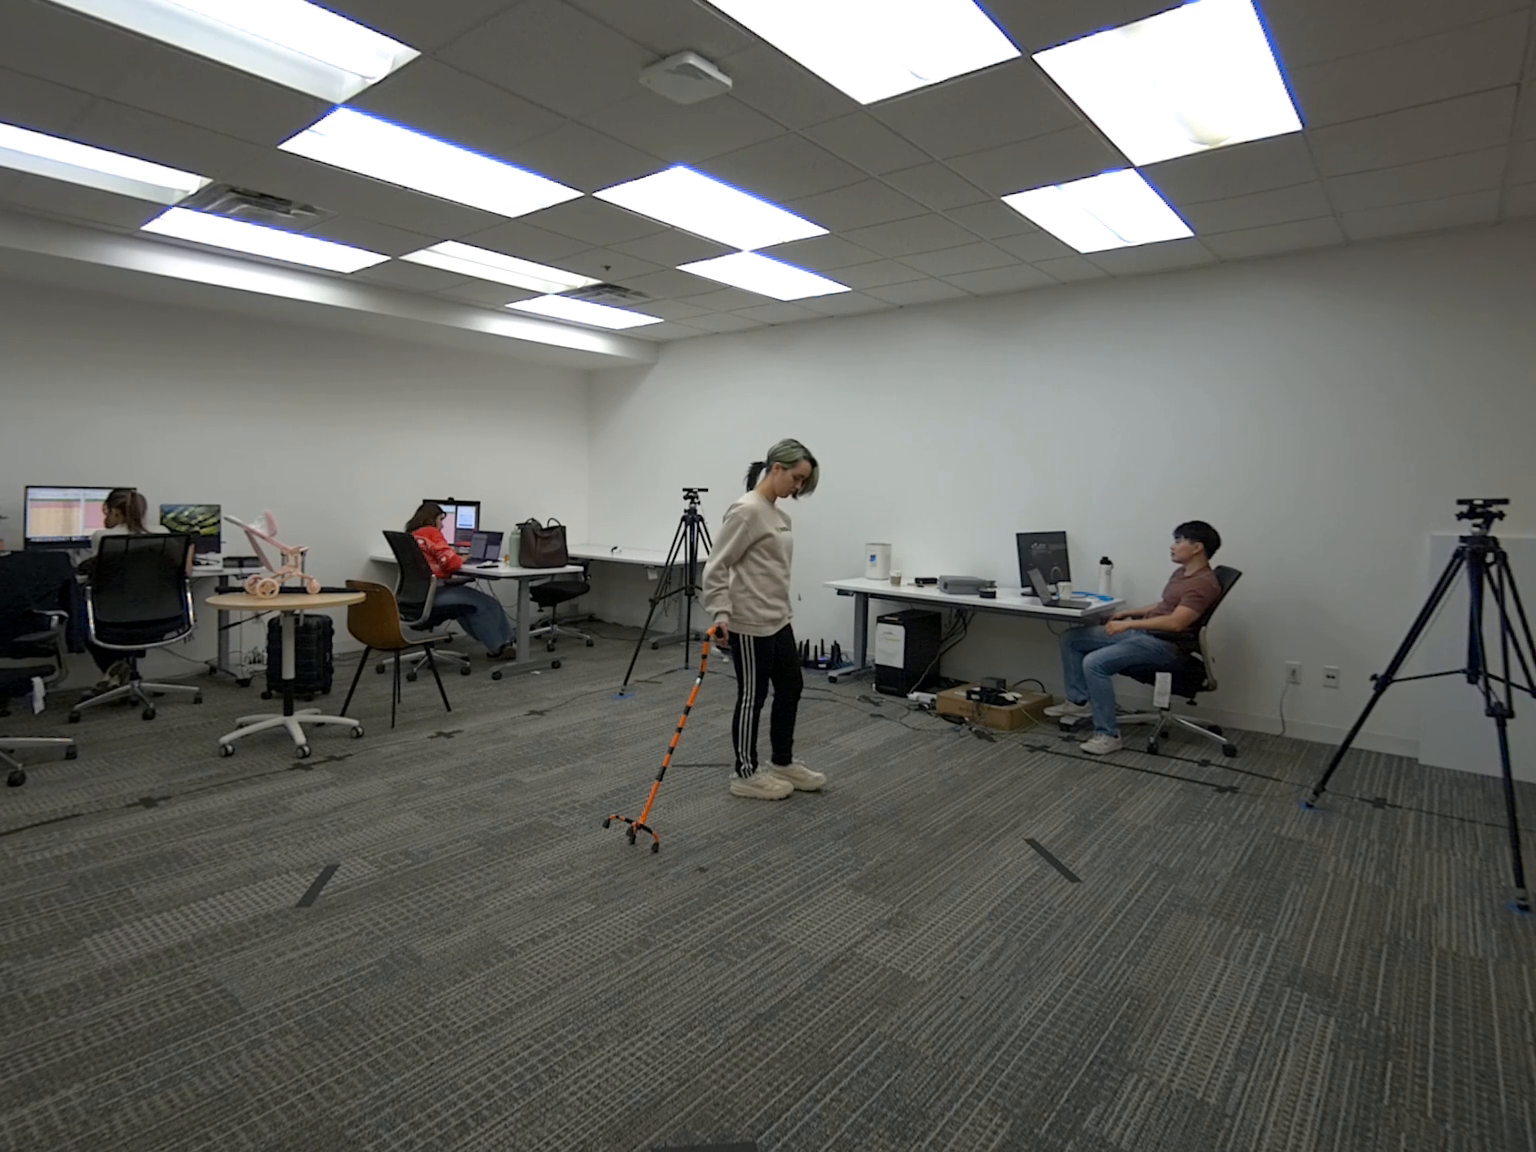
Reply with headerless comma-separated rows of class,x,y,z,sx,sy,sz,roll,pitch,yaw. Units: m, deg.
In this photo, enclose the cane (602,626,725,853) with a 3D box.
cane,-0.376,0.612,3.413,0.156,0.918,0.198,1,-31,38
